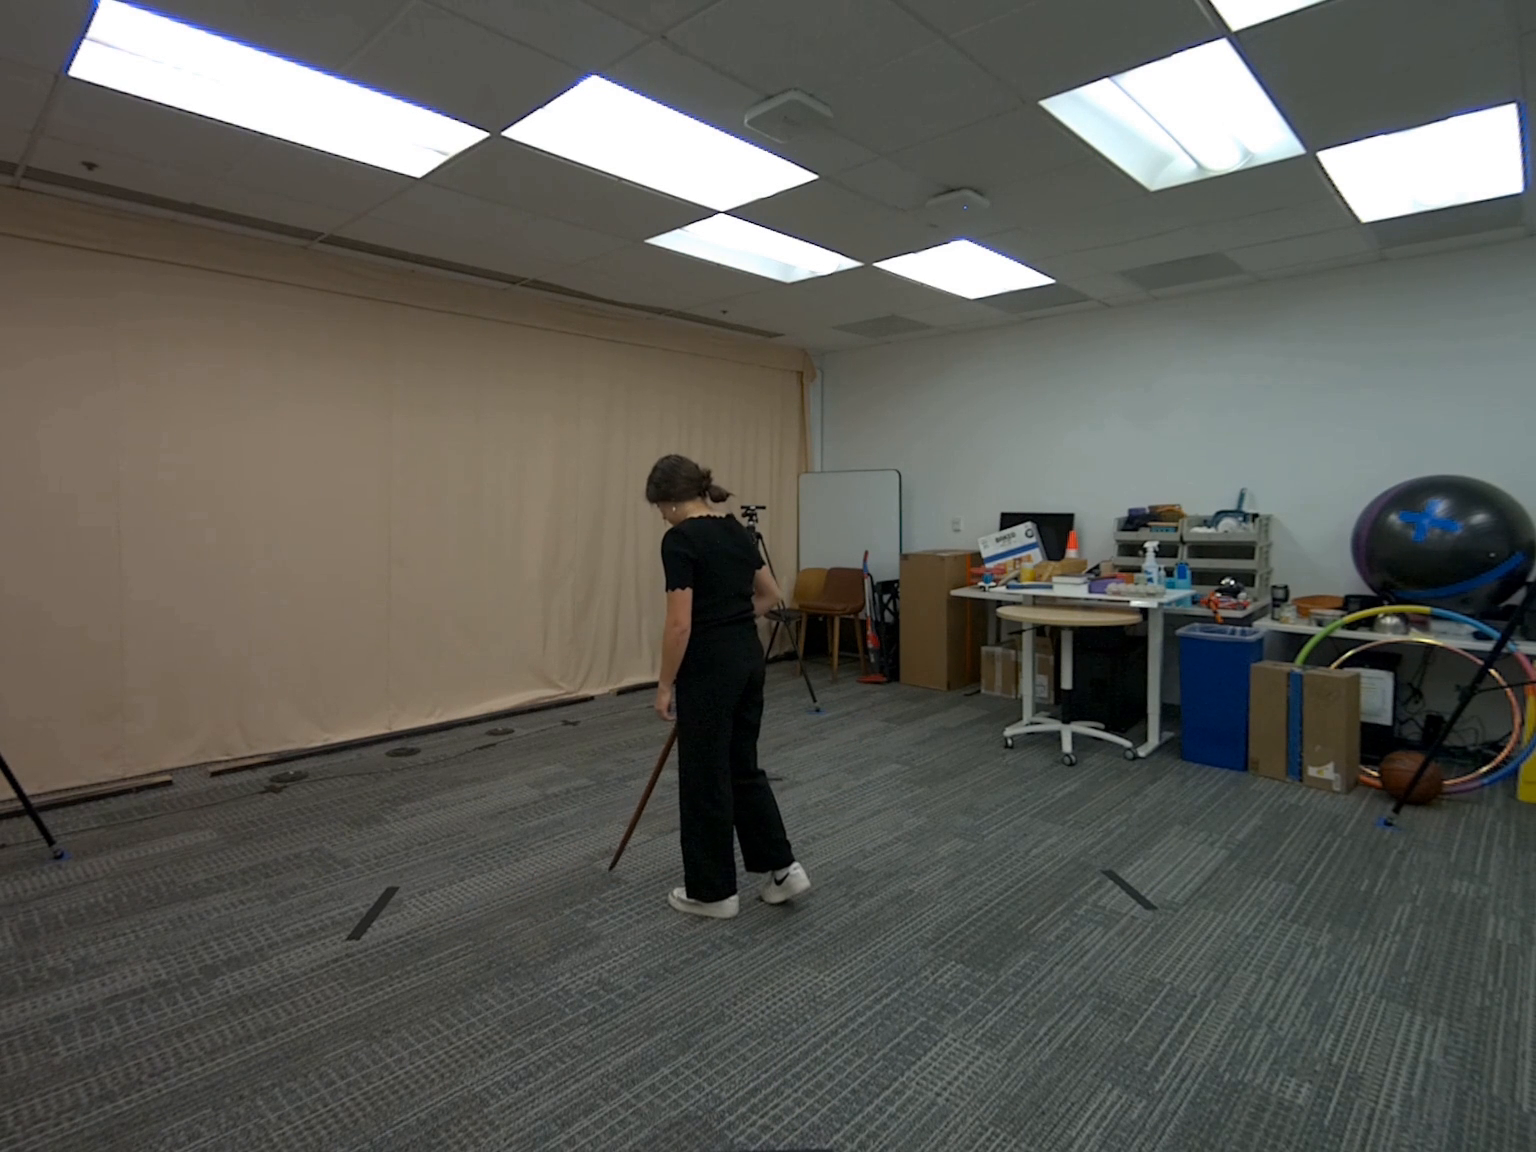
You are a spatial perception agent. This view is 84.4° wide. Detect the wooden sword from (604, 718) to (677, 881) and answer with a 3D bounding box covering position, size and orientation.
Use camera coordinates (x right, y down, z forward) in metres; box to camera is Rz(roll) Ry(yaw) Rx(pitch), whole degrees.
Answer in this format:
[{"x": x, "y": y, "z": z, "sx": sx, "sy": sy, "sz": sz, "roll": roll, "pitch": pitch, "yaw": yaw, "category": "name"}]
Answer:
[{"x": -0.395, "y": 0.677, "z": 3.142, "sx": 0.024, "sy": 1.024, "sz": 0.052, "roll": 23, "pitch": 8, "yaw": -14, "category": "wooden sword"}]
